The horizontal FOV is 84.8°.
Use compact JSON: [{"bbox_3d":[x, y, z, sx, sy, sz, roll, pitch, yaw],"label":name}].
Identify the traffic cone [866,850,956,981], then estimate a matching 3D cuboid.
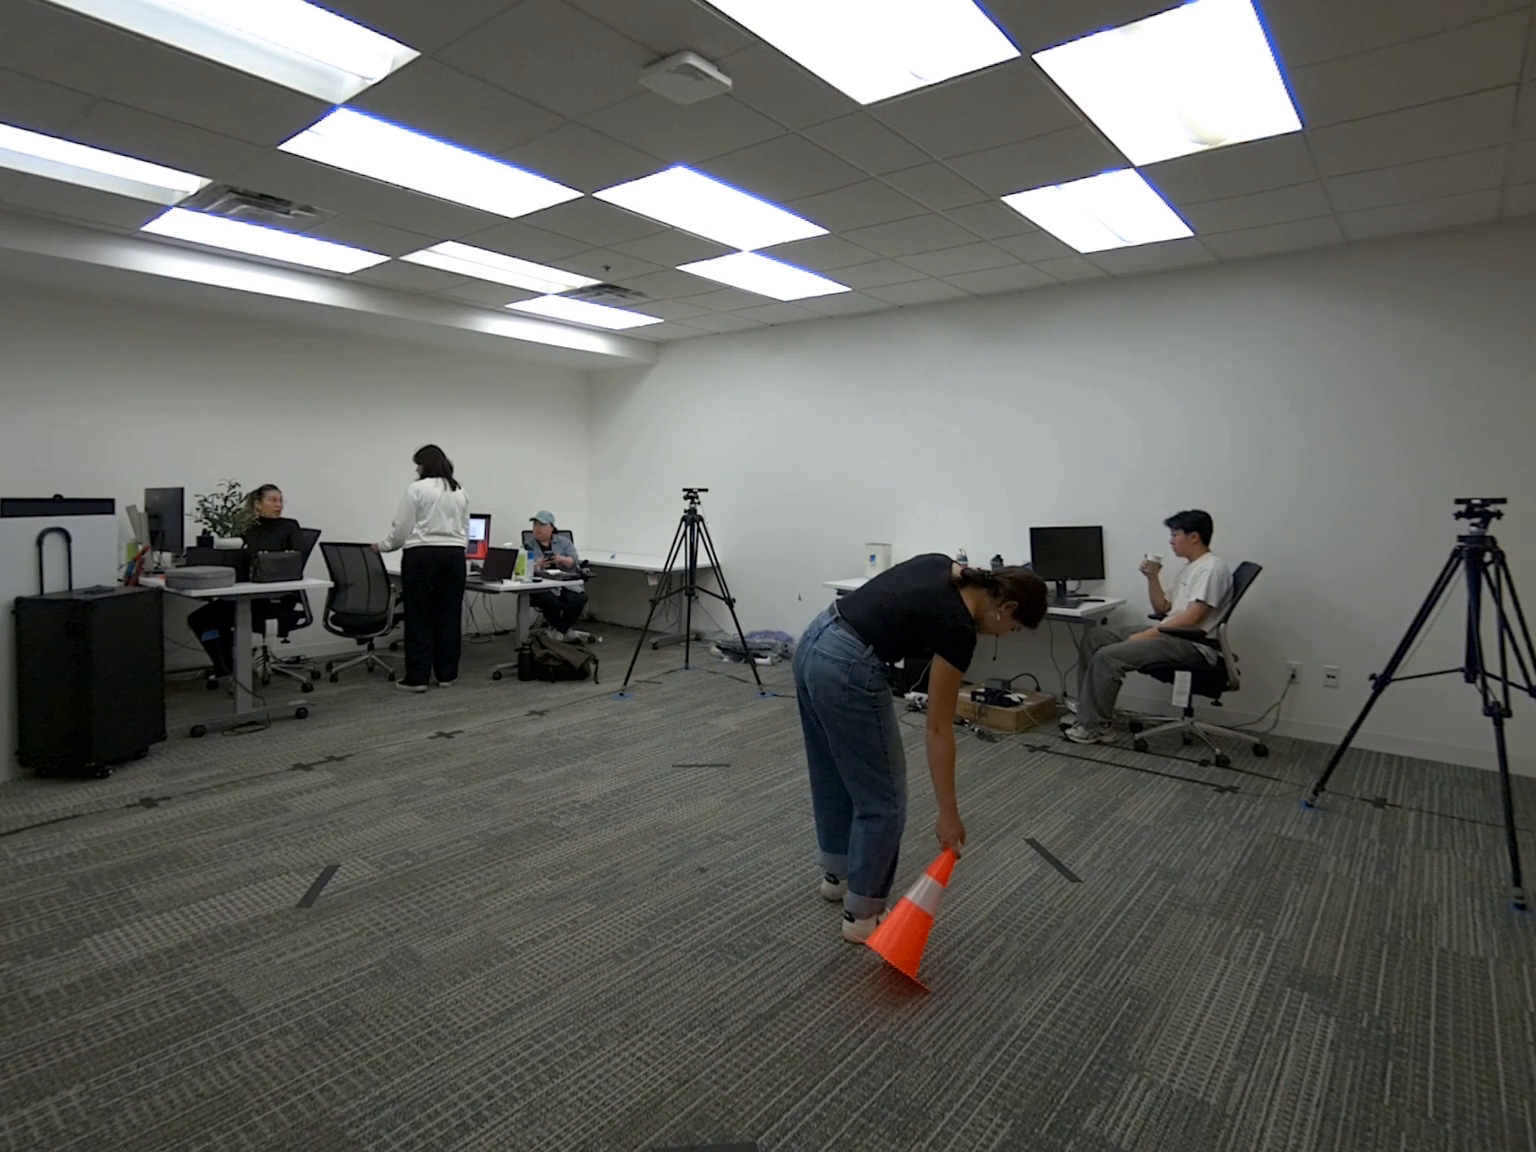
[{"bbox_3d":[0.447,0.939,2.465,0.198,0.385,0.210,42,-18,-28],"label":"traffic cone"}]
